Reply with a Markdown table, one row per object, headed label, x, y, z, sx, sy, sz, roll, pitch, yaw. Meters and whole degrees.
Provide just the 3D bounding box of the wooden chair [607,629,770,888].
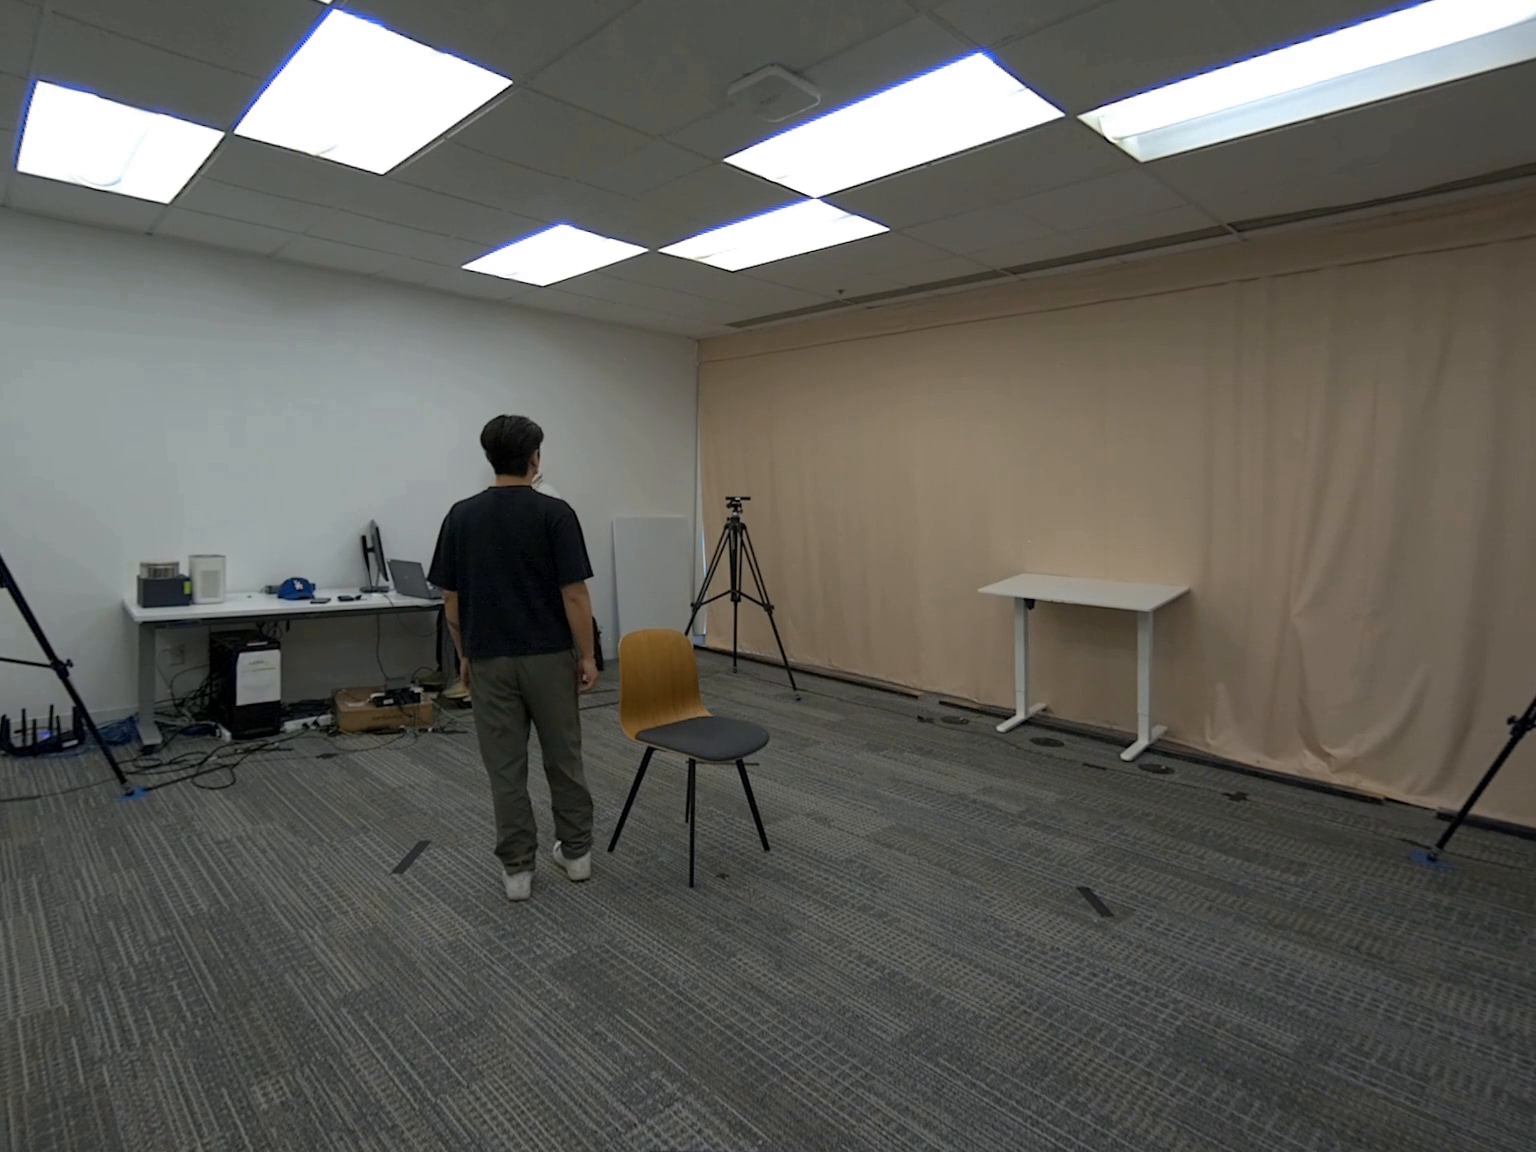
| label | x | y | z | sx | sy | sz | roll | pitch | yaw |
| --- | --- | --- | --- | --- | --- | --- | --- | --- | --- |
| wooden chair | -0.297 | 0.659 | 3.280 | 0.535 | 0.877 | 0.467 | -1 | 0 | 39 |
